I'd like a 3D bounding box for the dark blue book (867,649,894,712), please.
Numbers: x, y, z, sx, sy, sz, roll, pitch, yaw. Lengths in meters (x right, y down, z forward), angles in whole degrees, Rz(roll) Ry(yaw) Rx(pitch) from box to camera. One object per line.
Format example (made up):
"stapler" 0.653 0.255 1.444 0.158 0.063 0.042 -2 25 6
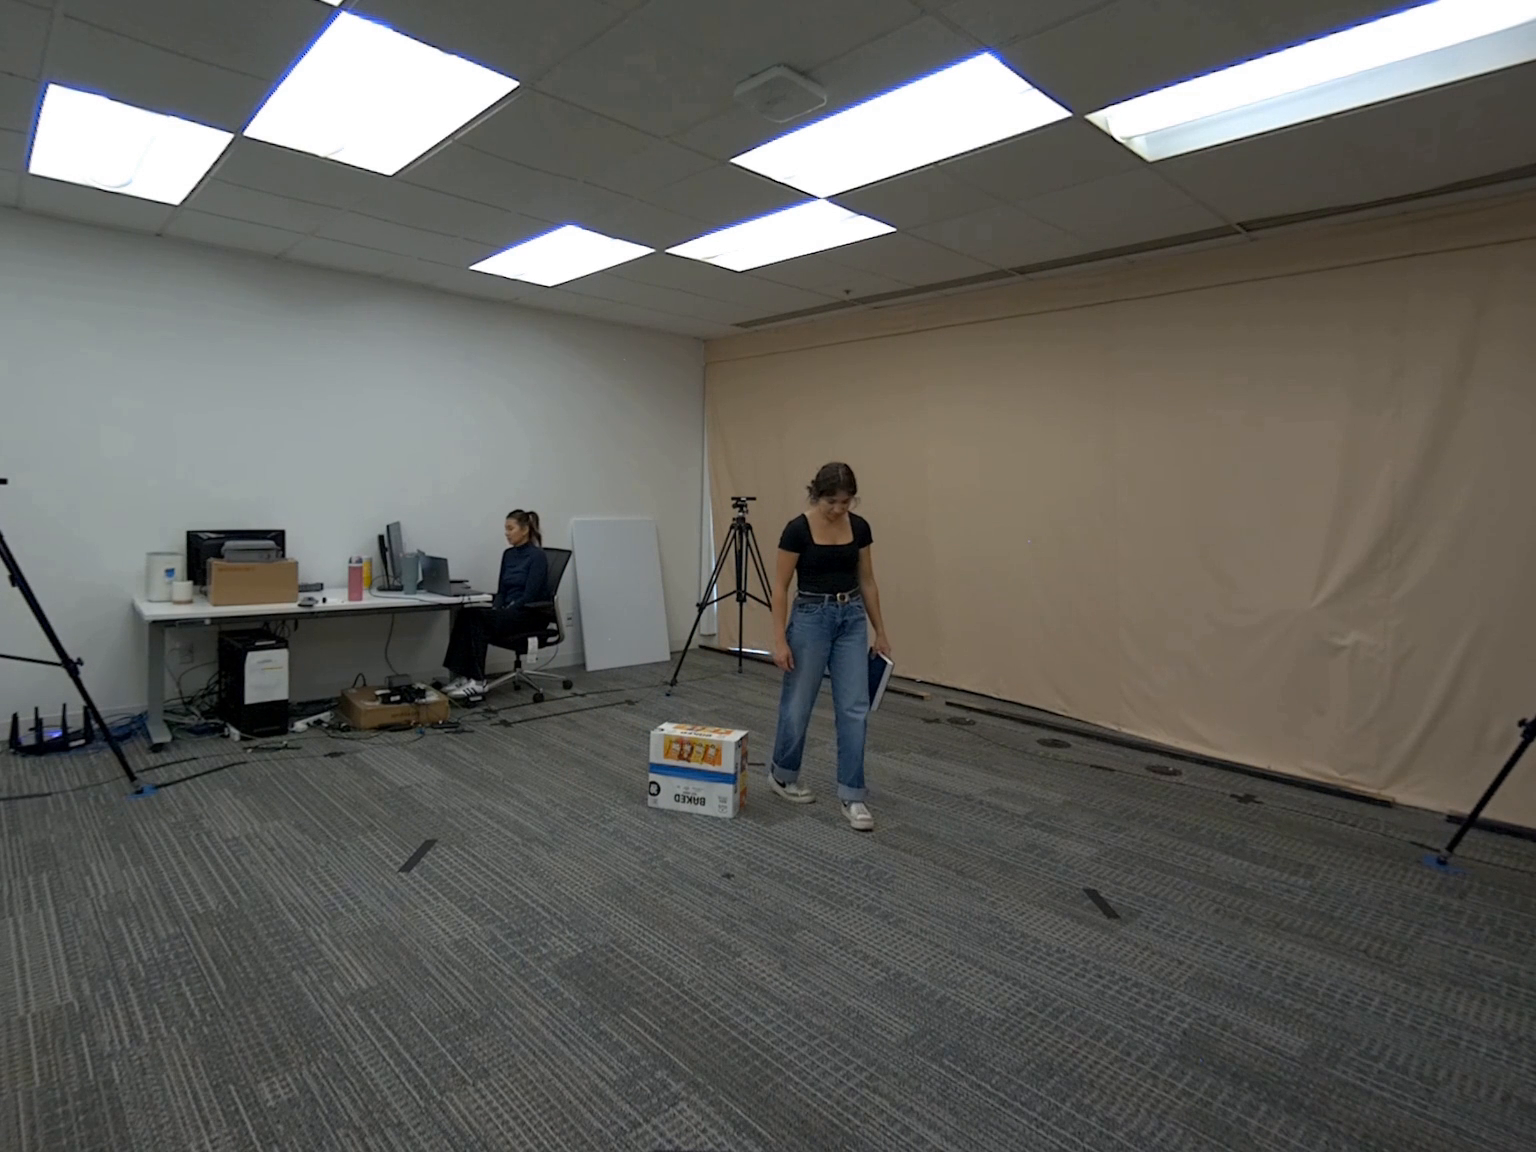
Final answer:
"dark blue book" 0.470 0.467 3.816 0.044 0.244 0.167 13 11 -23
